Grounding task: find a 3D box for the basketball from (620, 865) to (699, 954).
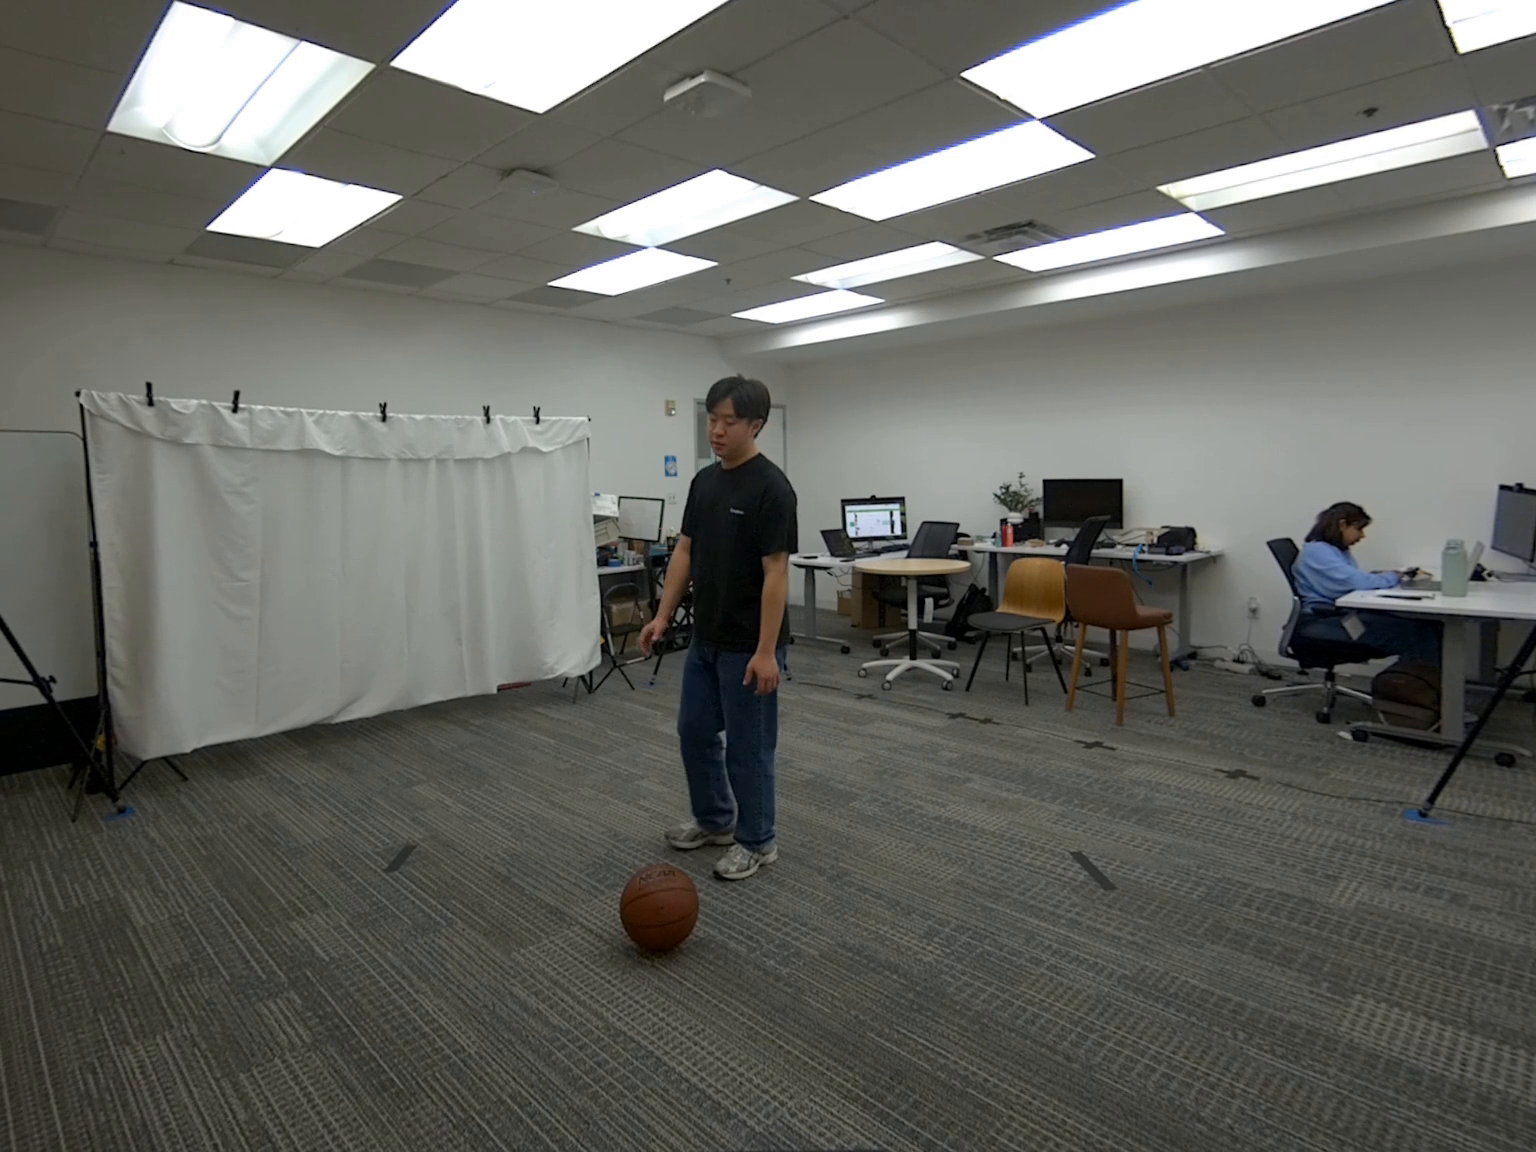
[{"bbox_3d":[-0.325,0.988,2.563,0.236,0.235,0.237,-1,5,-2],"label":"basketball"}]
